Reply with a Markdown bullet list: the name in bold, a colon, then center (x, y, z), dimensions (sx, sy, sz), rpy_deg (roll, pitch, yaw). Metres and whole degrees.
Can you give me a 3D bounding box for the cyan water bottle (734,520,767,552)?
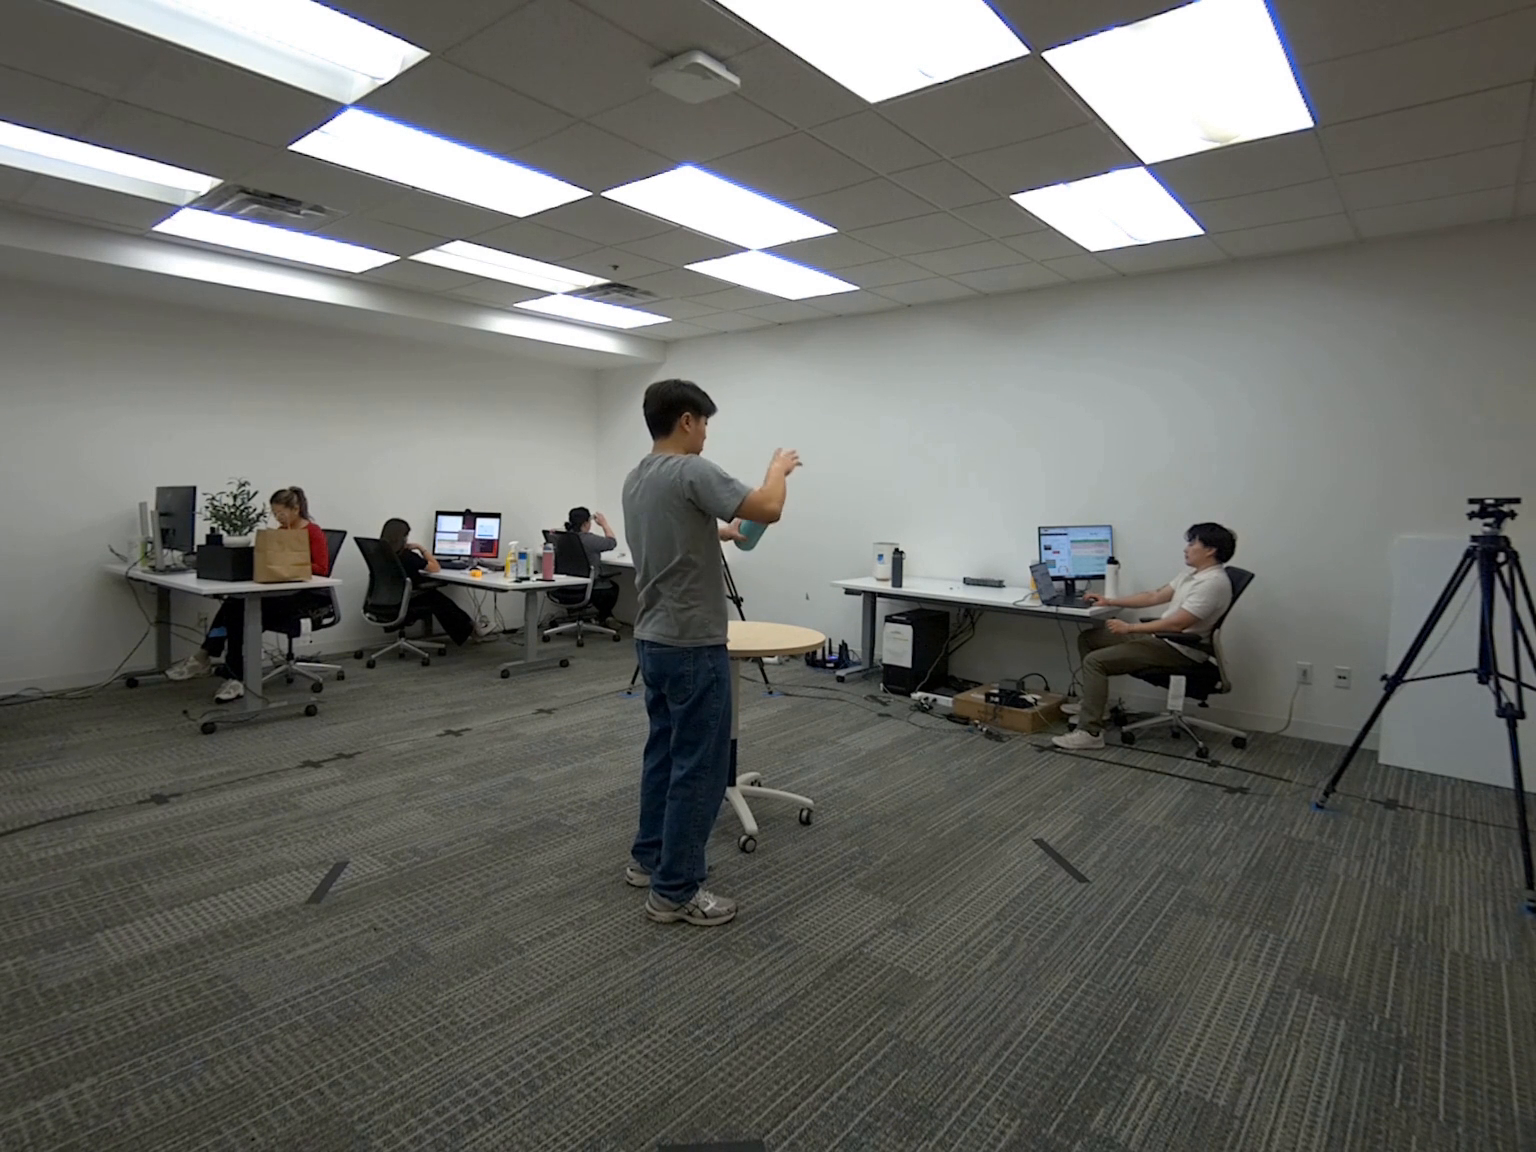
- **cyan water bottle**: center (-0.051, -0.205, 3.082), dimensions (0.090, 0.095, 0.282), rpy_deg (-1, -33, -29)
